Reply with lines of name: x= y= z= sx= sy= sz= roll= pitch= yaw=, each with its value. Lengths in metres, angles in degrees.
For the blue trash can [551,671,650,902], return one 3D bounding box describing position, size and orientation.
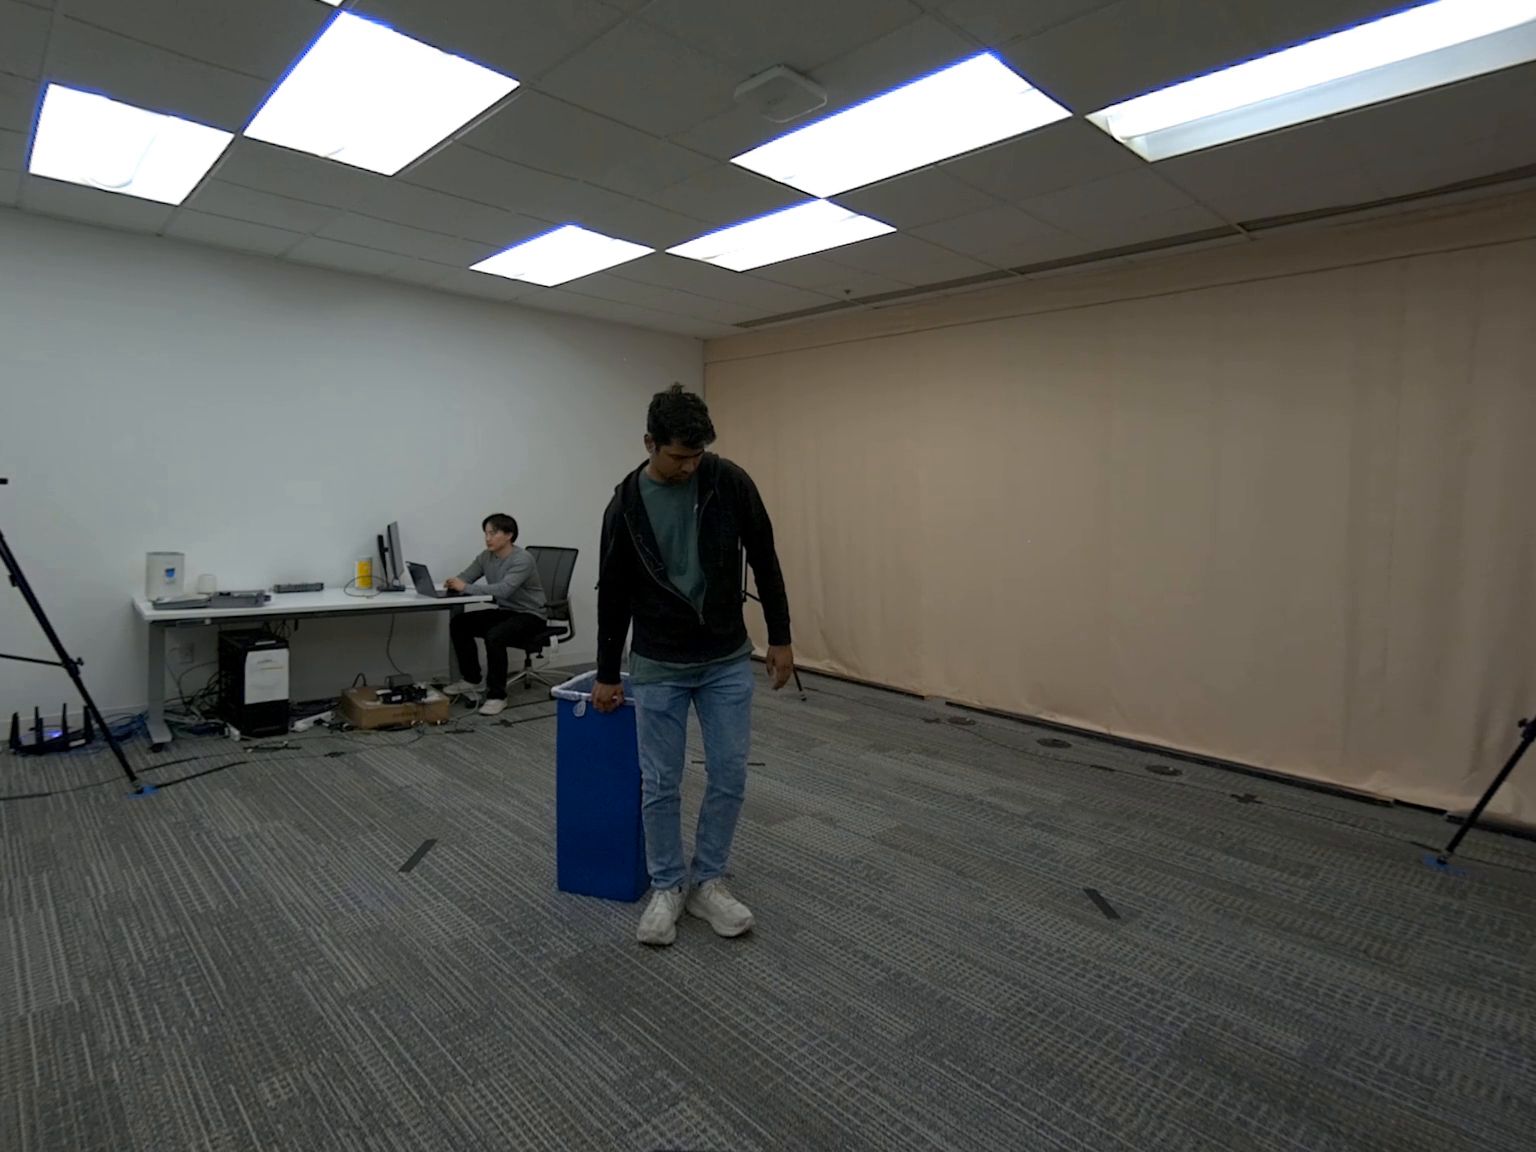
blue trash can: x=-0.550 y=0.740 z=3.037 sx=0.379 sy=0.712 sz=0.374 roll=2 pitch=4 yaw=14
